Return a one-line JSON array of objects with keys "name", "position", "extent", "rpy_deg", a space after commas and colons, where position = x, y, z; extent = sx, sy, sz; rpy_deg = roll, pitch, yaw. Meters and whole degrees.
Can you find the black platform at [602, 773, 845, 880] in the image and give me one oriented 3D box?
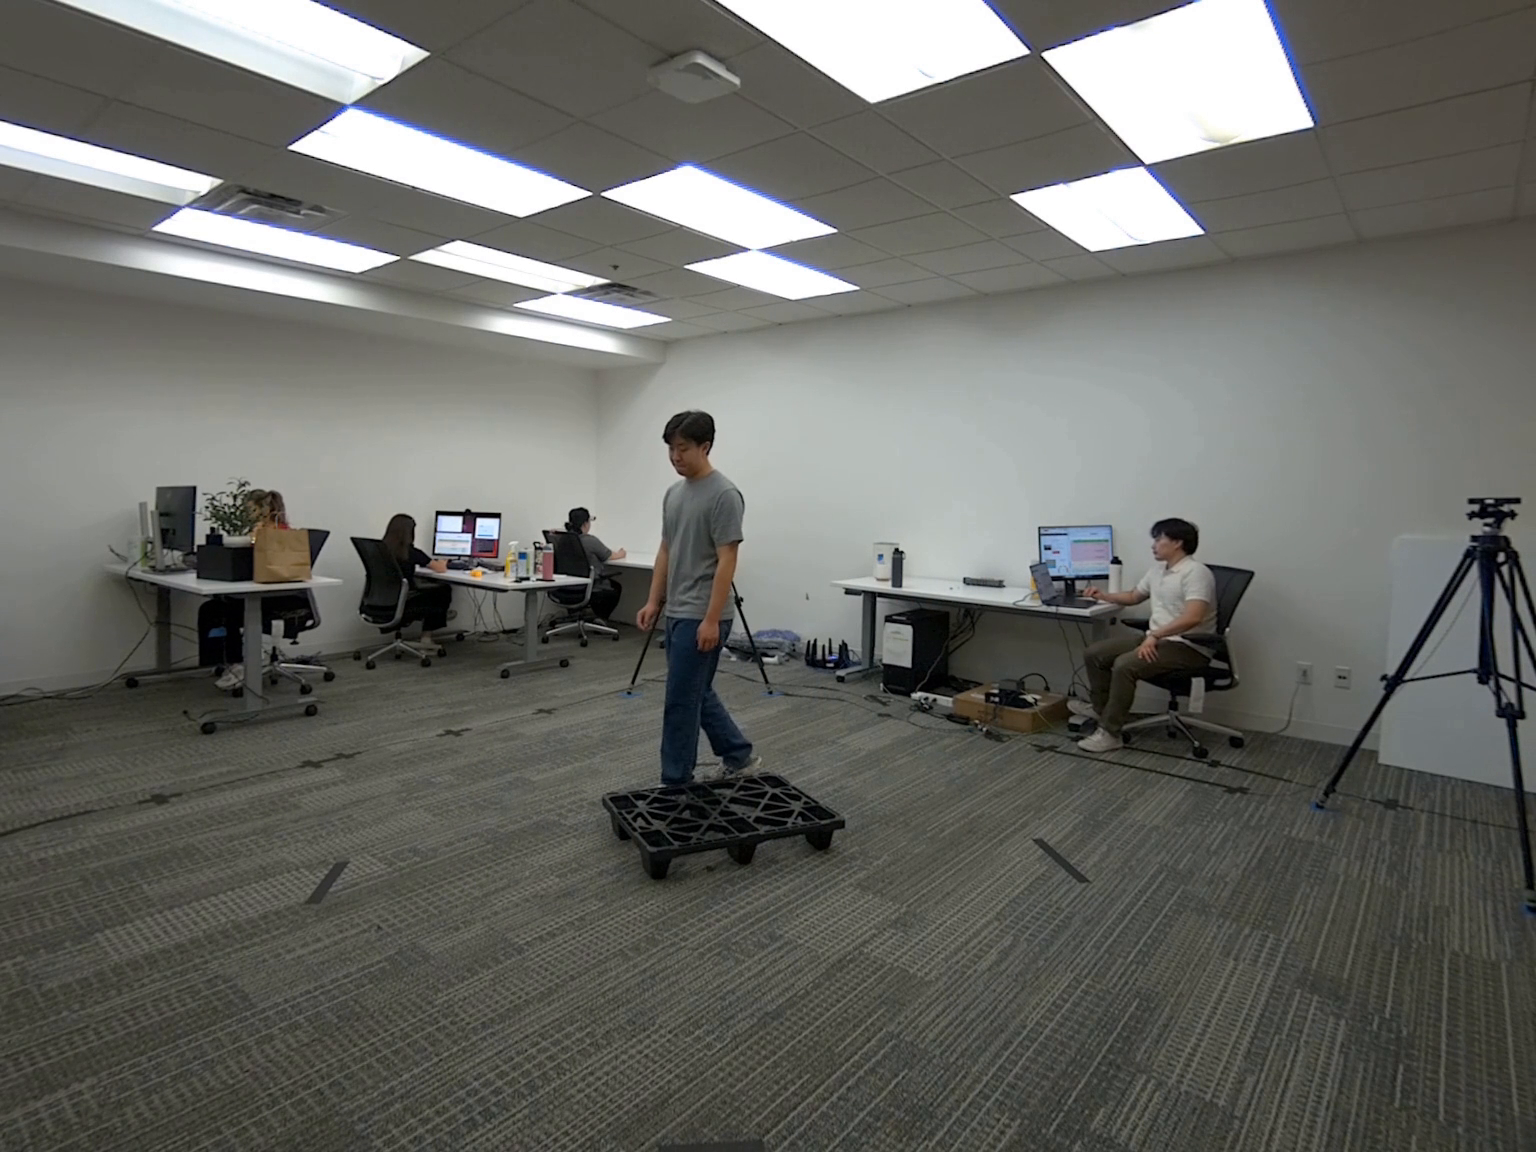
[{"name": "black platform", "position": [-0.195, 0.974, 3.360], "extent": [0.786, 0.143, 0.622], "rpy_deg": [-2, 7, -25]}]
